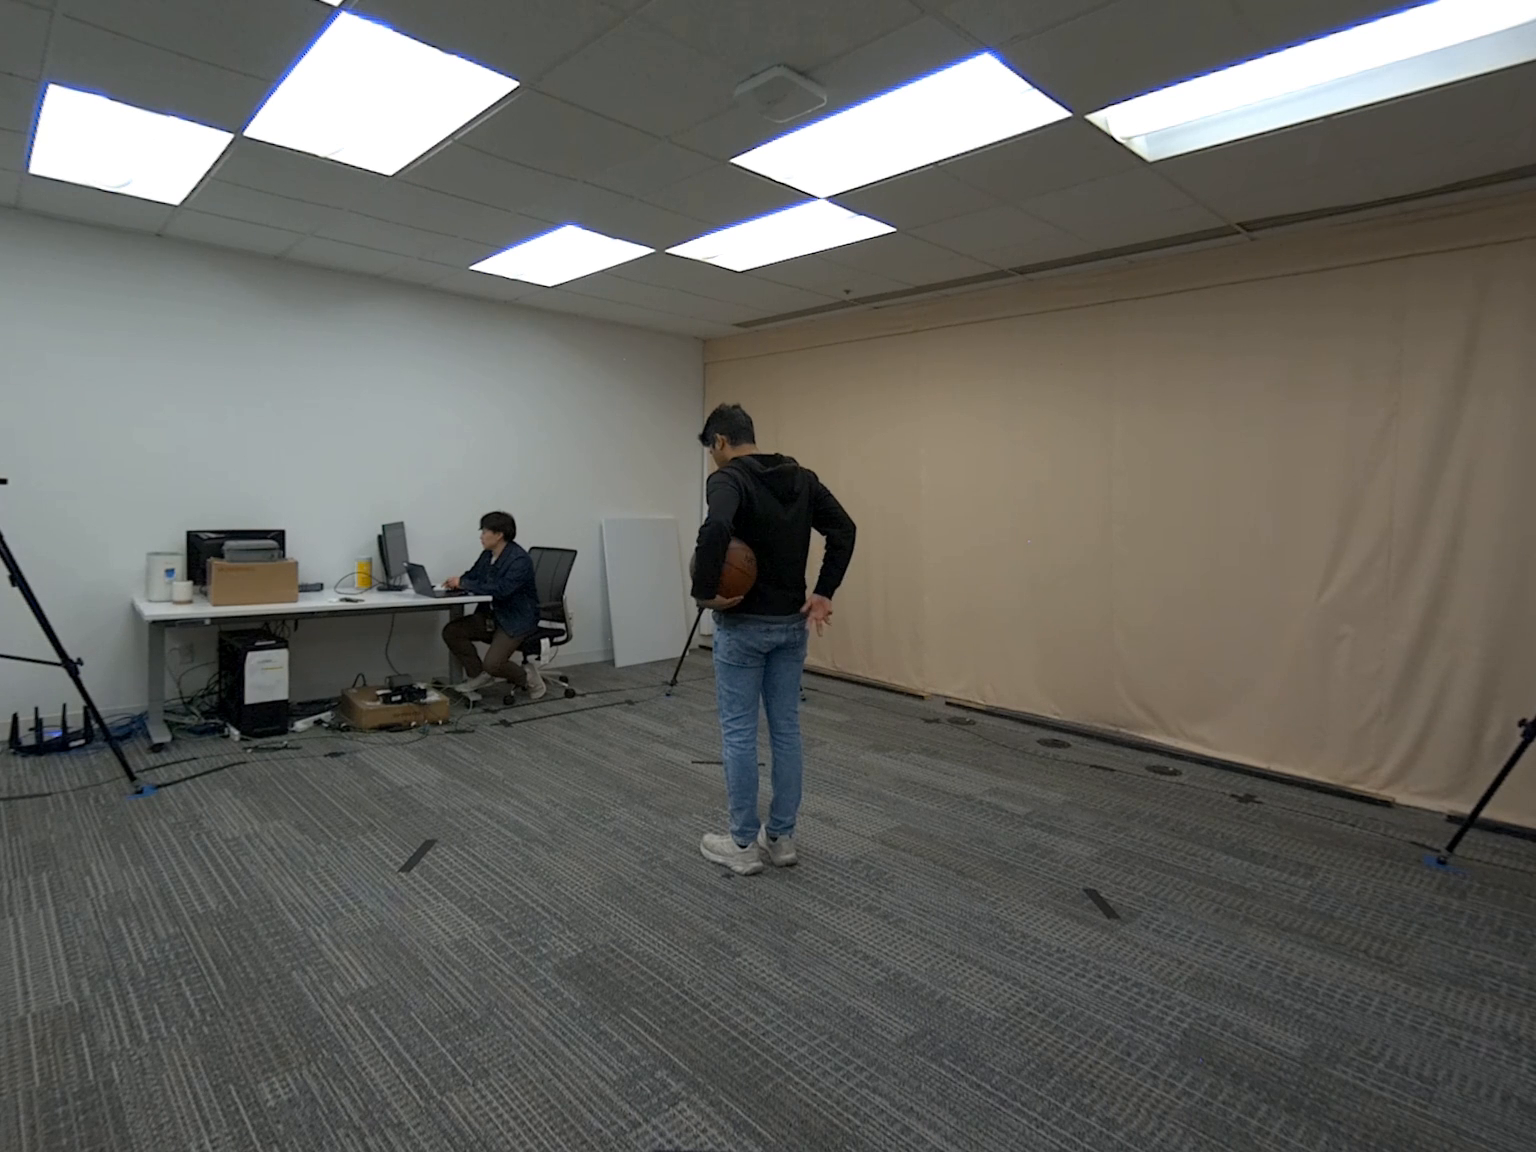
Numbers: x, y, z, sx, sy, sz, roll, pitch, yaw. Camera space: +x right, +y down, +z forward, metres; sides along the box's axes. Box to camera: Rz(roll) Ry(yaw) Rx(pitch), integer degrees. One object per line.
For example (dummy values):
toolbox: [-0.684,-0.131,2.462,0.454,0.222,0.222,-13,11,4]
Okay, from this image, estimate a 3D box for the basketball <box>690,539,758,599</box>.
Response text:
basketball: [-0.164,-0.025,2.972,0.236,0.235,0.237,1,4,-1]
